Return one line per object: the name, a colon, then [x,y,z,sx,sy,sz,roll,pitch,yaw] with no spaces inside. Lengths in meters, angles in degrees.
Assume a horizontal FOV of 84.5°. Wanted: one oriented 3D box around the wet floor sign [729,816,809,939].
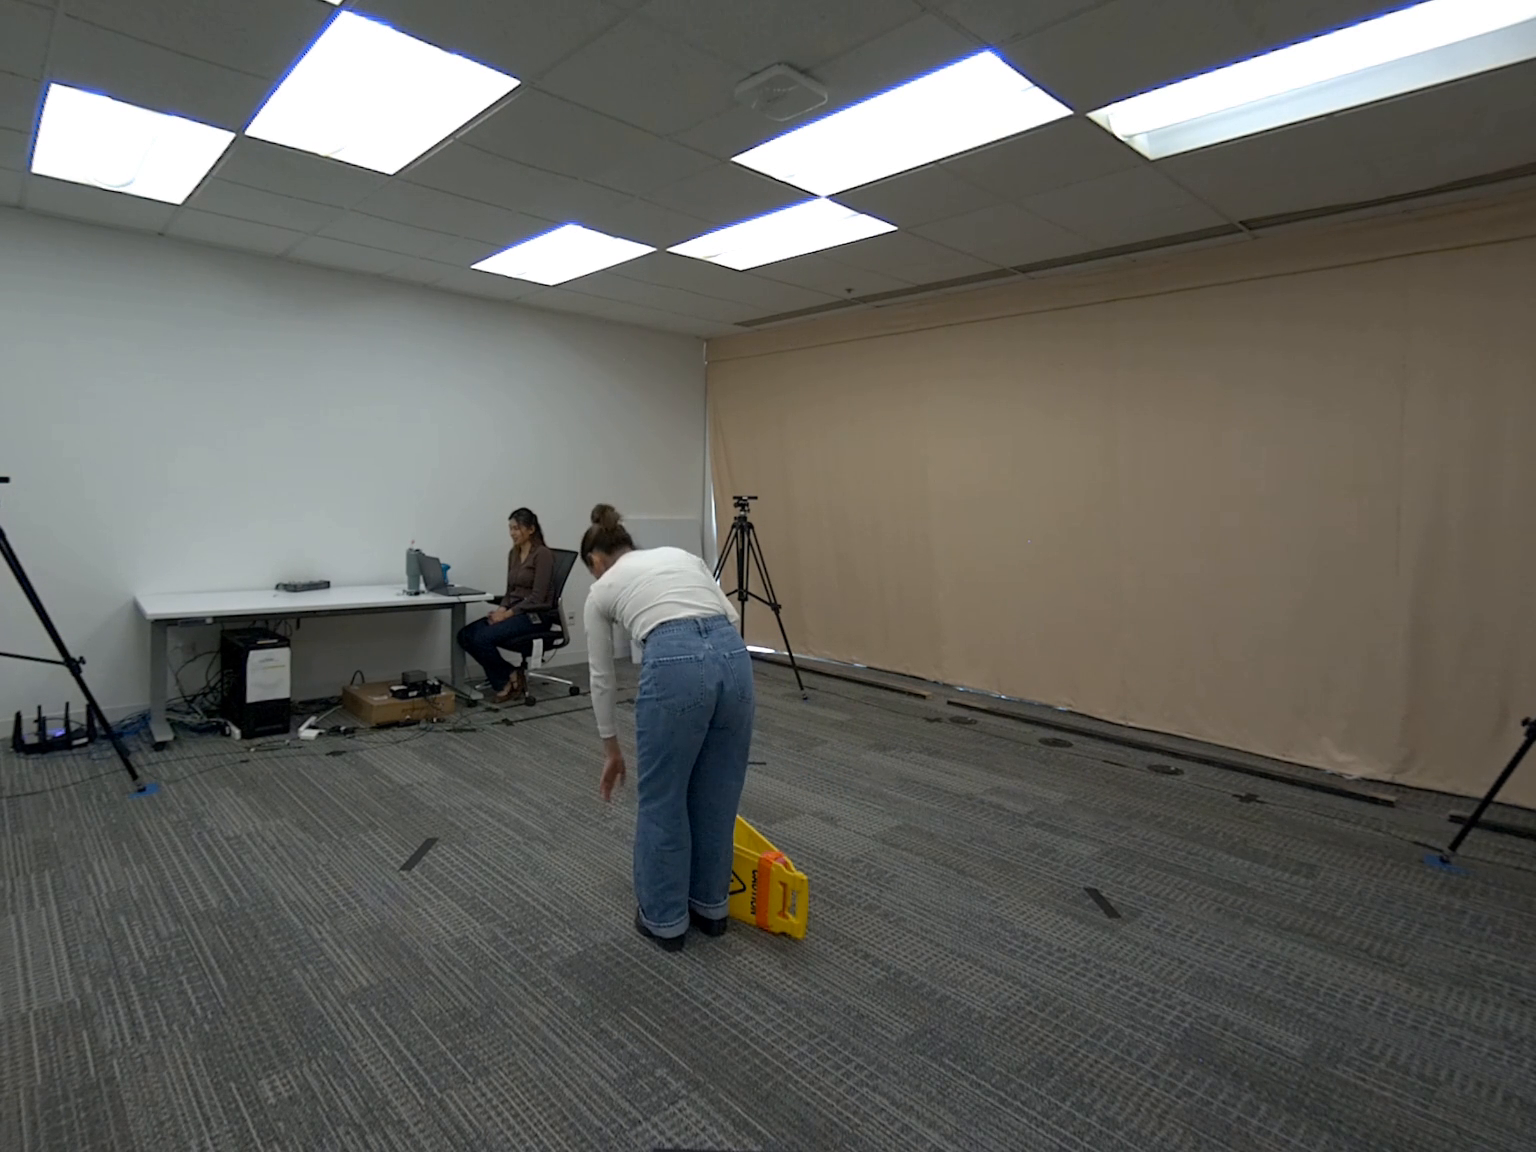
wet floor sign: [-0.107,0.998,2.855,0.283,0.281,0.663,-4,9,-42]
